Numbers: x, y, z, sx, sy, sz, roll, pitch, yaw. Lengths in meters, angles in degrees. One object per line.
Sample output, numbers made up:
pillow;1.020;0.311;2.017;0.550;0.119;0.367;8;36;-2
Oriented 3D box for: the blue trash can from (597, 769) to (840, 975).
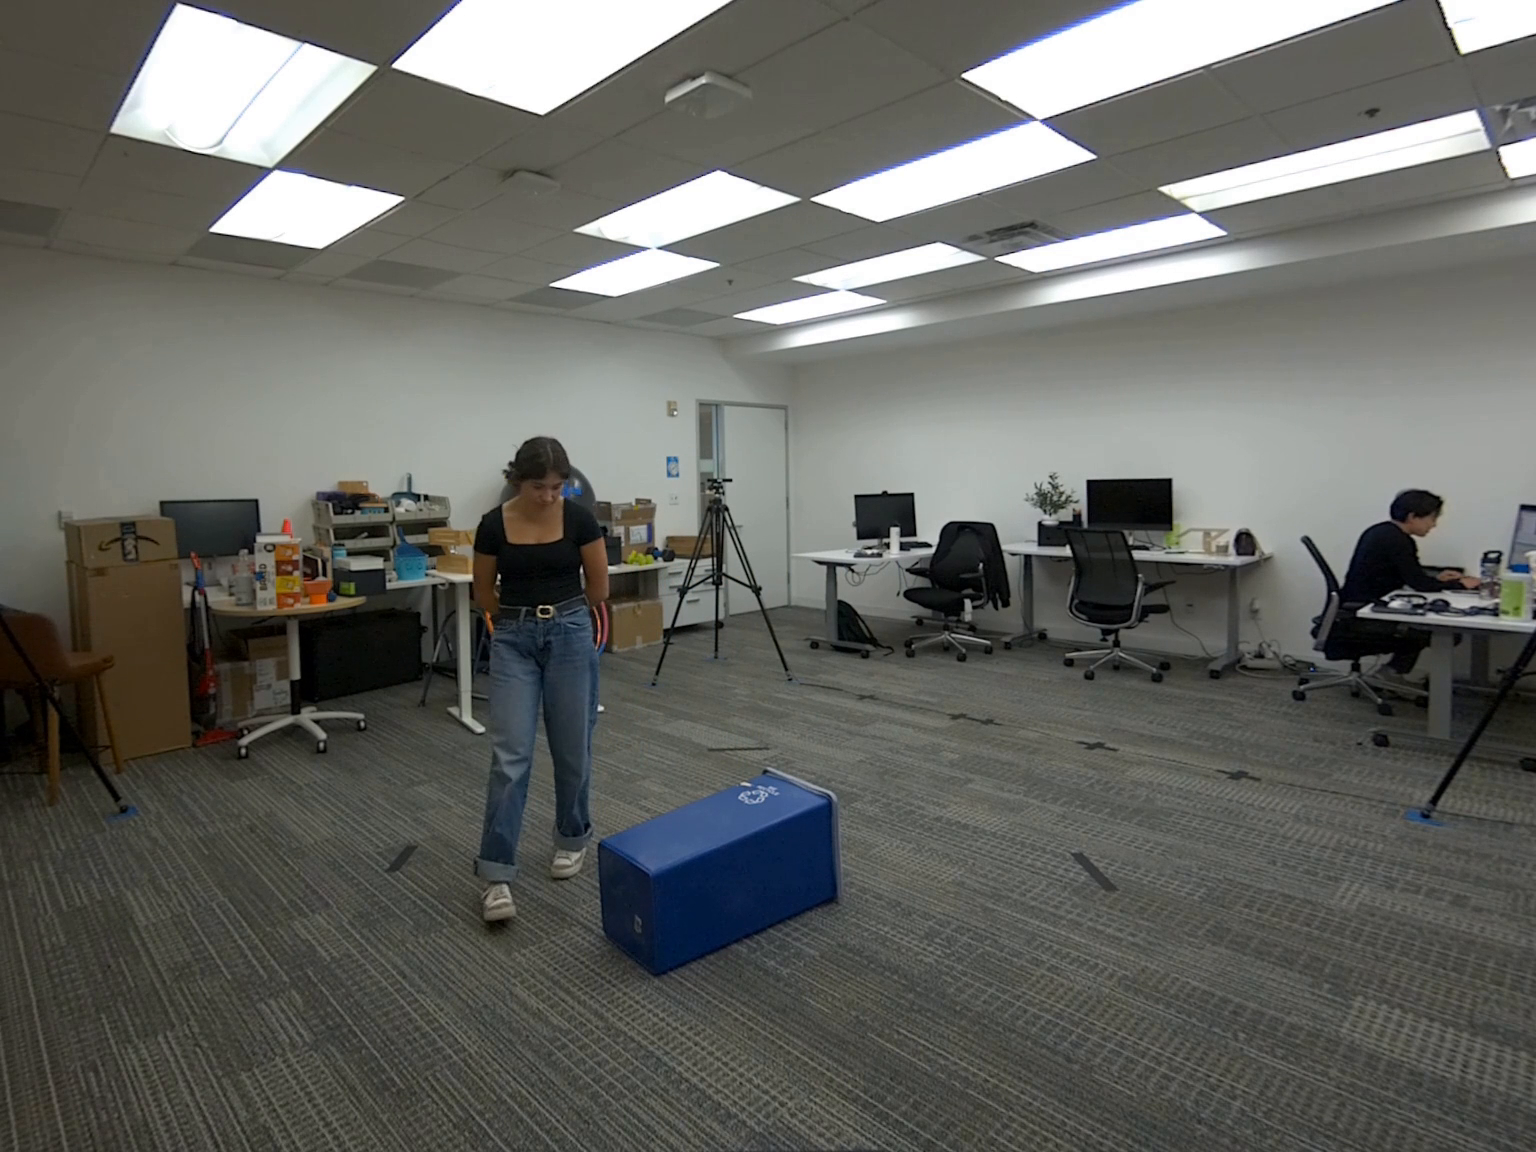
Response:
blue trash can;-0.145;0.922;2.718;0.696;0.375;0.386;-10;10;-39
